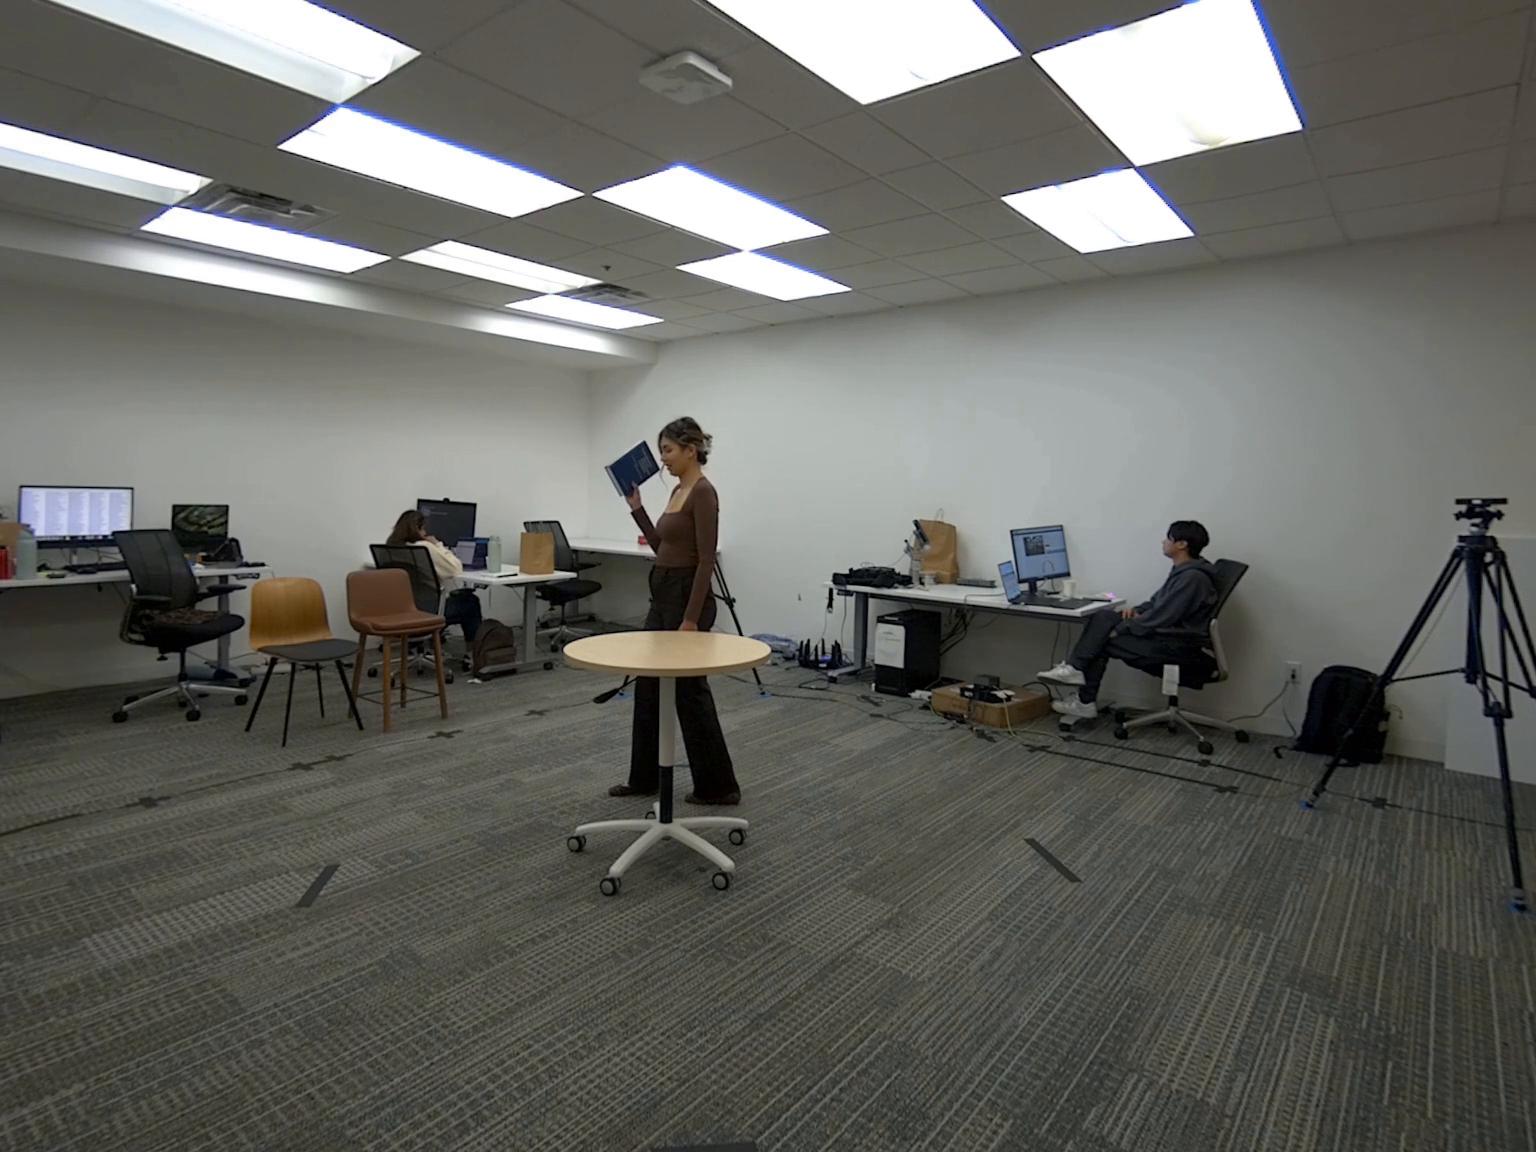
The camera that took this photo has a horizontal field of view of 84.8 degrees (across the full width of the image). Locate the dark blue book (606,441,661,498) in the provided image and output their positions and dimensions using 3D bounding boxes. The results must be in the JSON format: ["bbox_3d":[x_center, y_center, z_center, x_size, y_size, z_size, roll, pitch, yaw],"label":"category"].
[{"bbox_3d":[-0.639,-0.505,3.957,0.046,0.159,0.244,-1,35,49],"label":"dark blue book"}]
